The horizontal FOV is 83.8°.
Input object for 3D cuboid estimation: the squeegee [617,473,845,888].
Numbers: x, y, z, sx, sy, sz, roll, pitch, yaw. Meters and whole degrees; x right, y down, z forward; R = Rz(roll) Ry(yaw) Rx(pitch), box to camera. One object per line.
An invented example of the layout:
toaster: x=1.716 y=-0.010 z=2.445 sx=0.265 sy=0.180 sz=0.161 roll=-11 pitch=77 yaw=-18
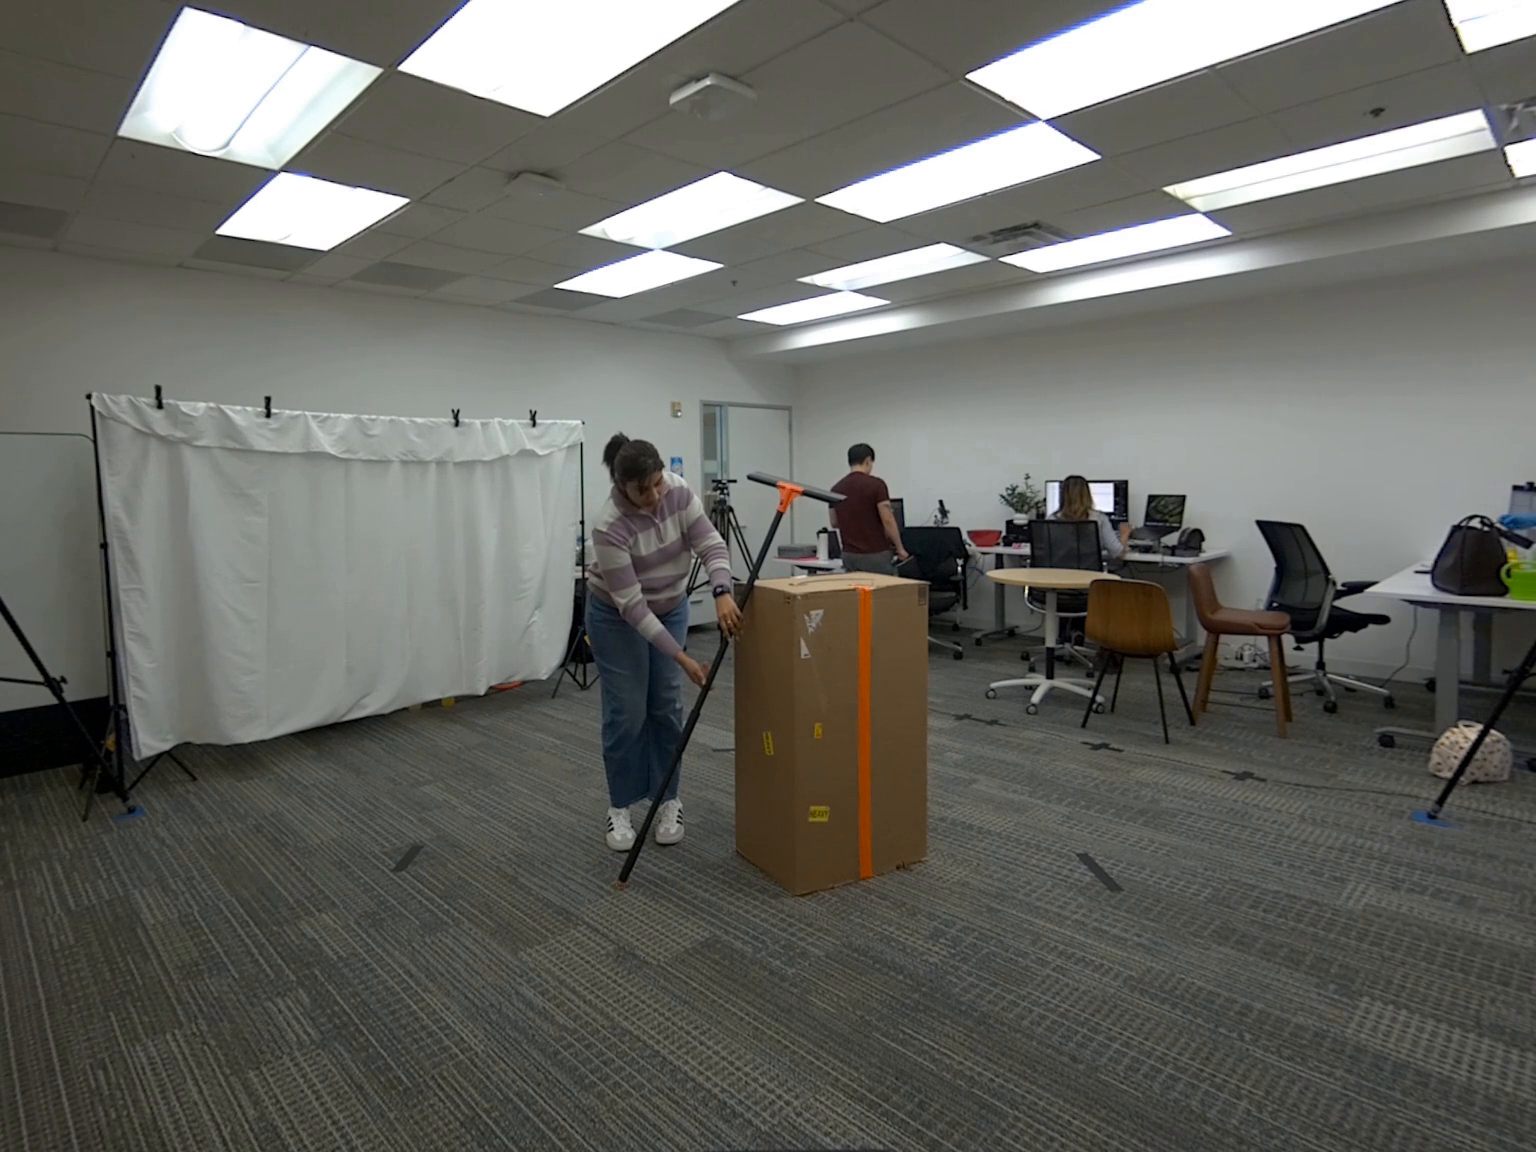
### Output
squeegee: x=-0.215 y=0.364 z=2.982 sx=0.453 sy=1.542 sz=0.051 roll=18 pitch=-8 yaw=40
